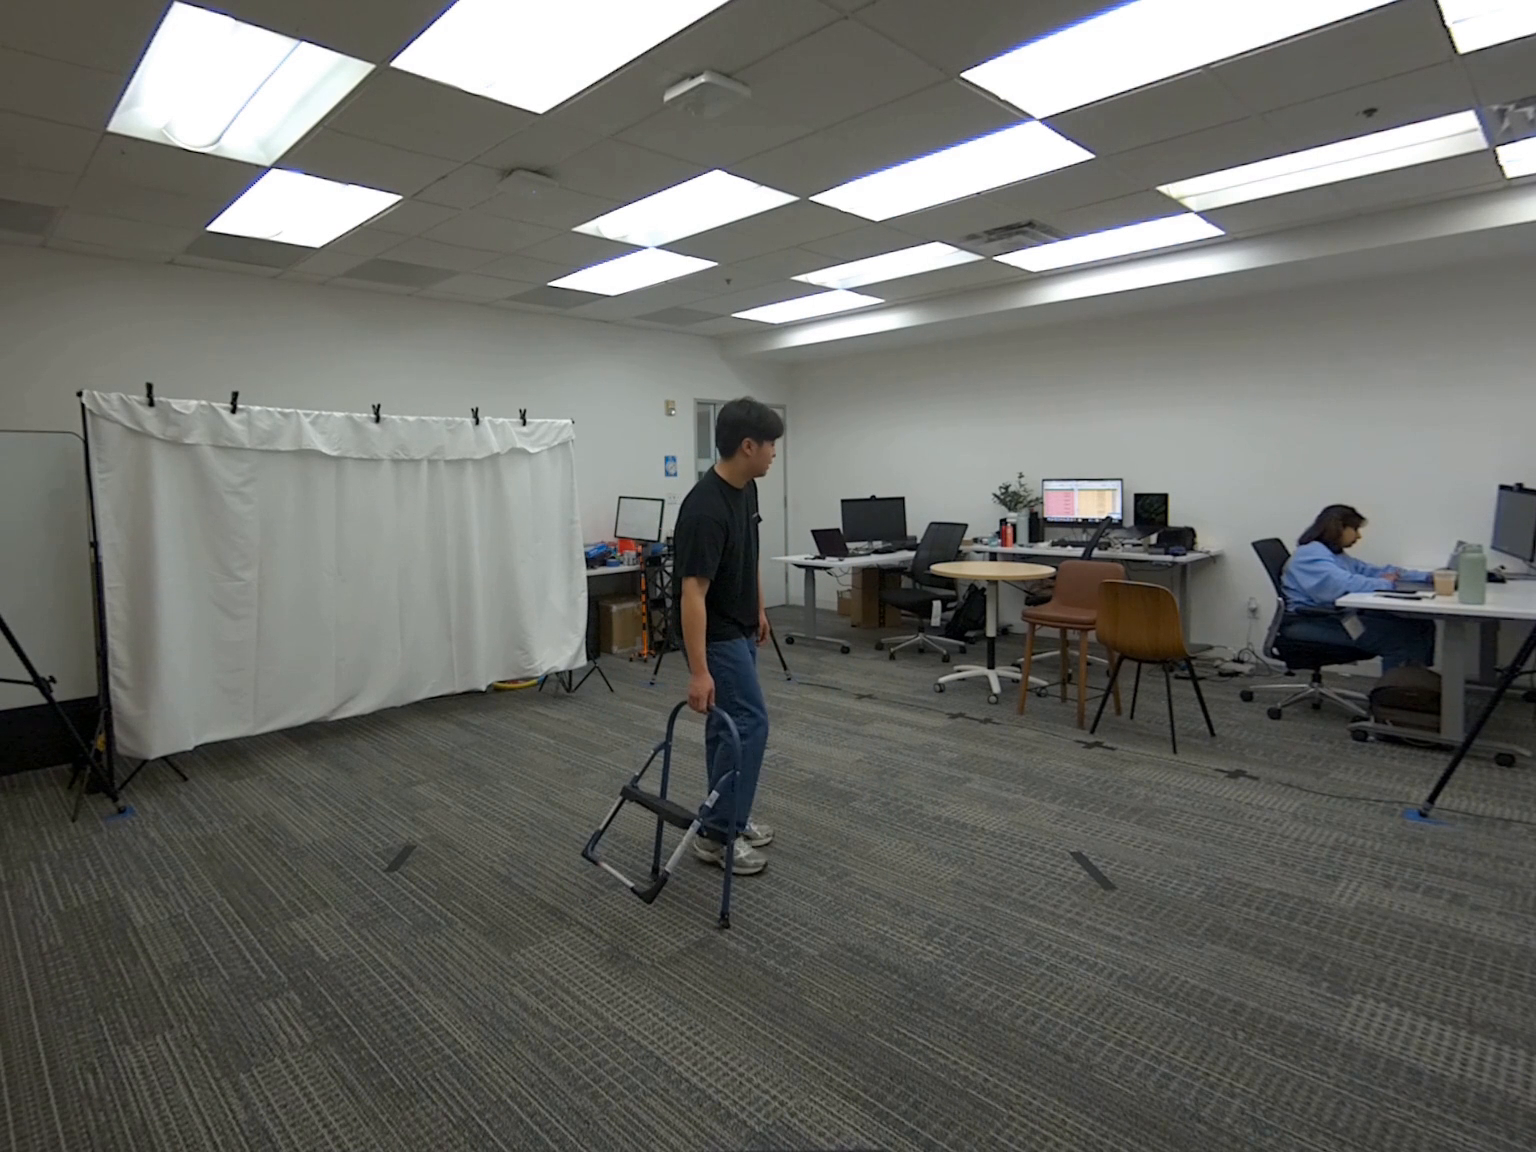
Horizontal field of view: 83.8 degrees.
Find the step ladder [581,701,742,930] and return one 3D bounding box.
[{"bbox_3d":[-0.267,0.732,2.802,0.336,0.610,0.444,31,-16,-37],"label":"step ladder"}]
